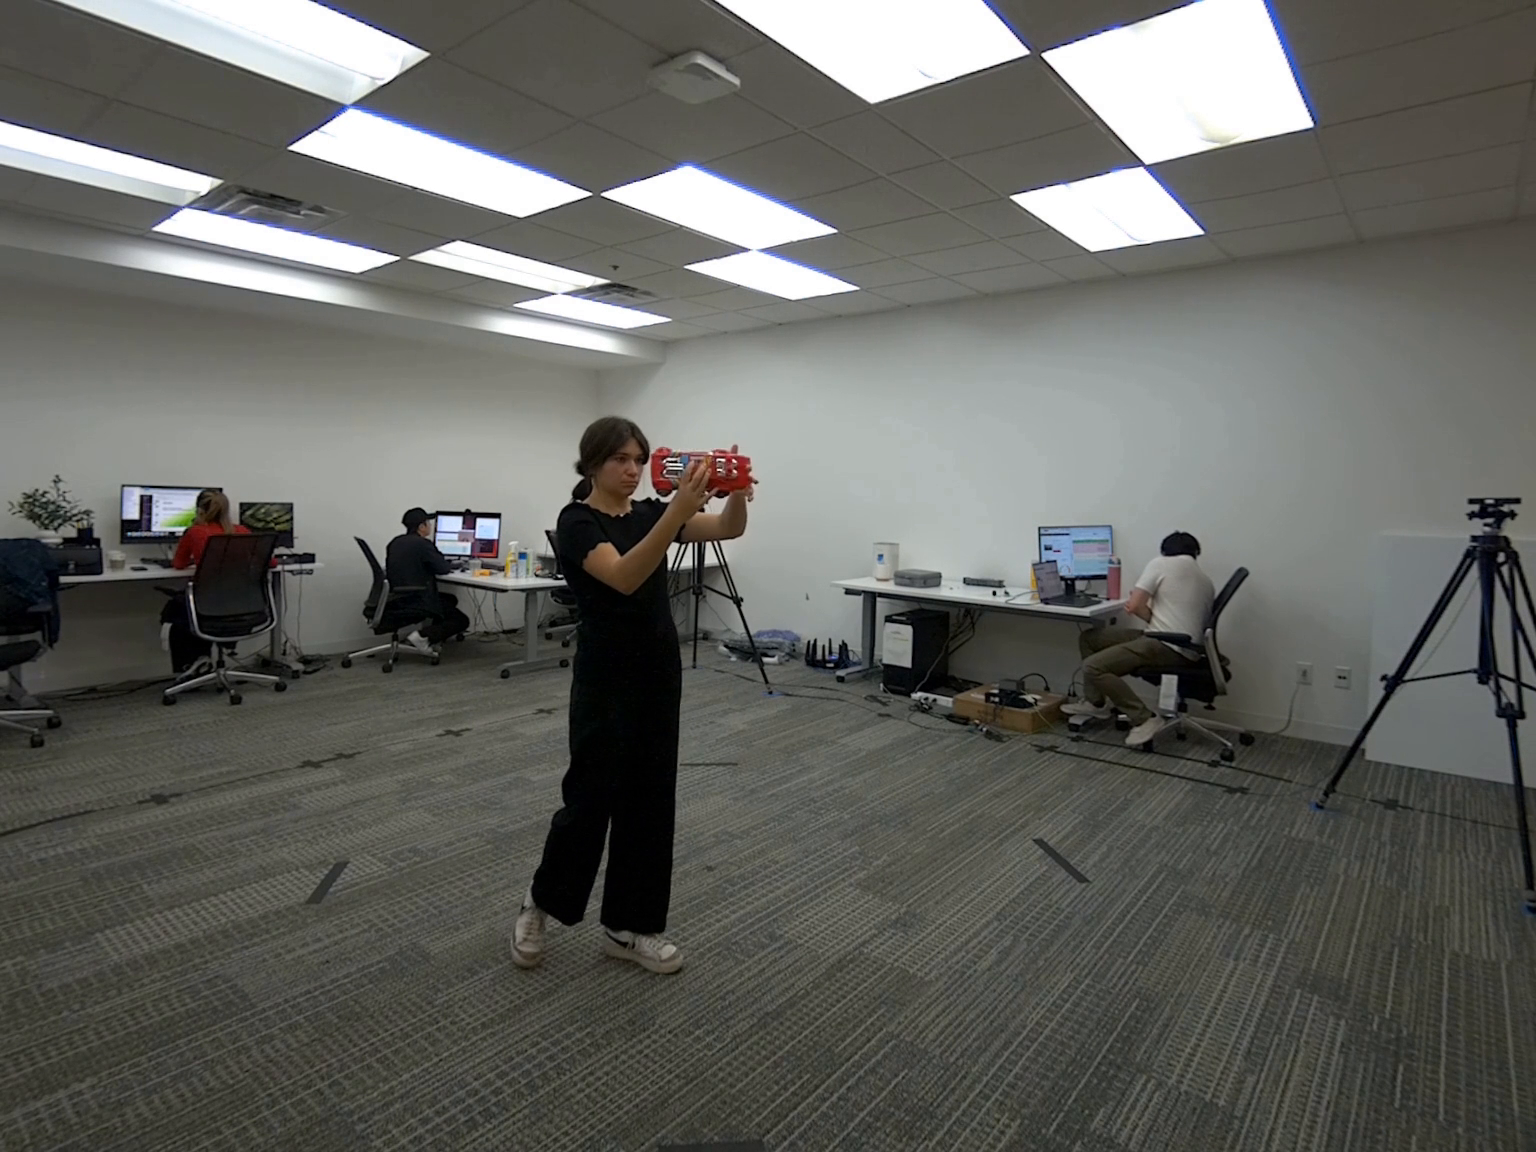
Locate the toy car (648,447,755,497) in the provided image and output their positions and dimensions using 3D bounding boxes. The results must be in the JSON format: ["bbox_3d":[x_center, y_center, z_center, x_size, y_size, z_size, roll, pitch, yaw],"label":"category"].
[{"bbox_3d":[-0.182,-0.266,2.145,0.254,0.132,0.082,-2,-17,-1],"label":"toy car"}]
